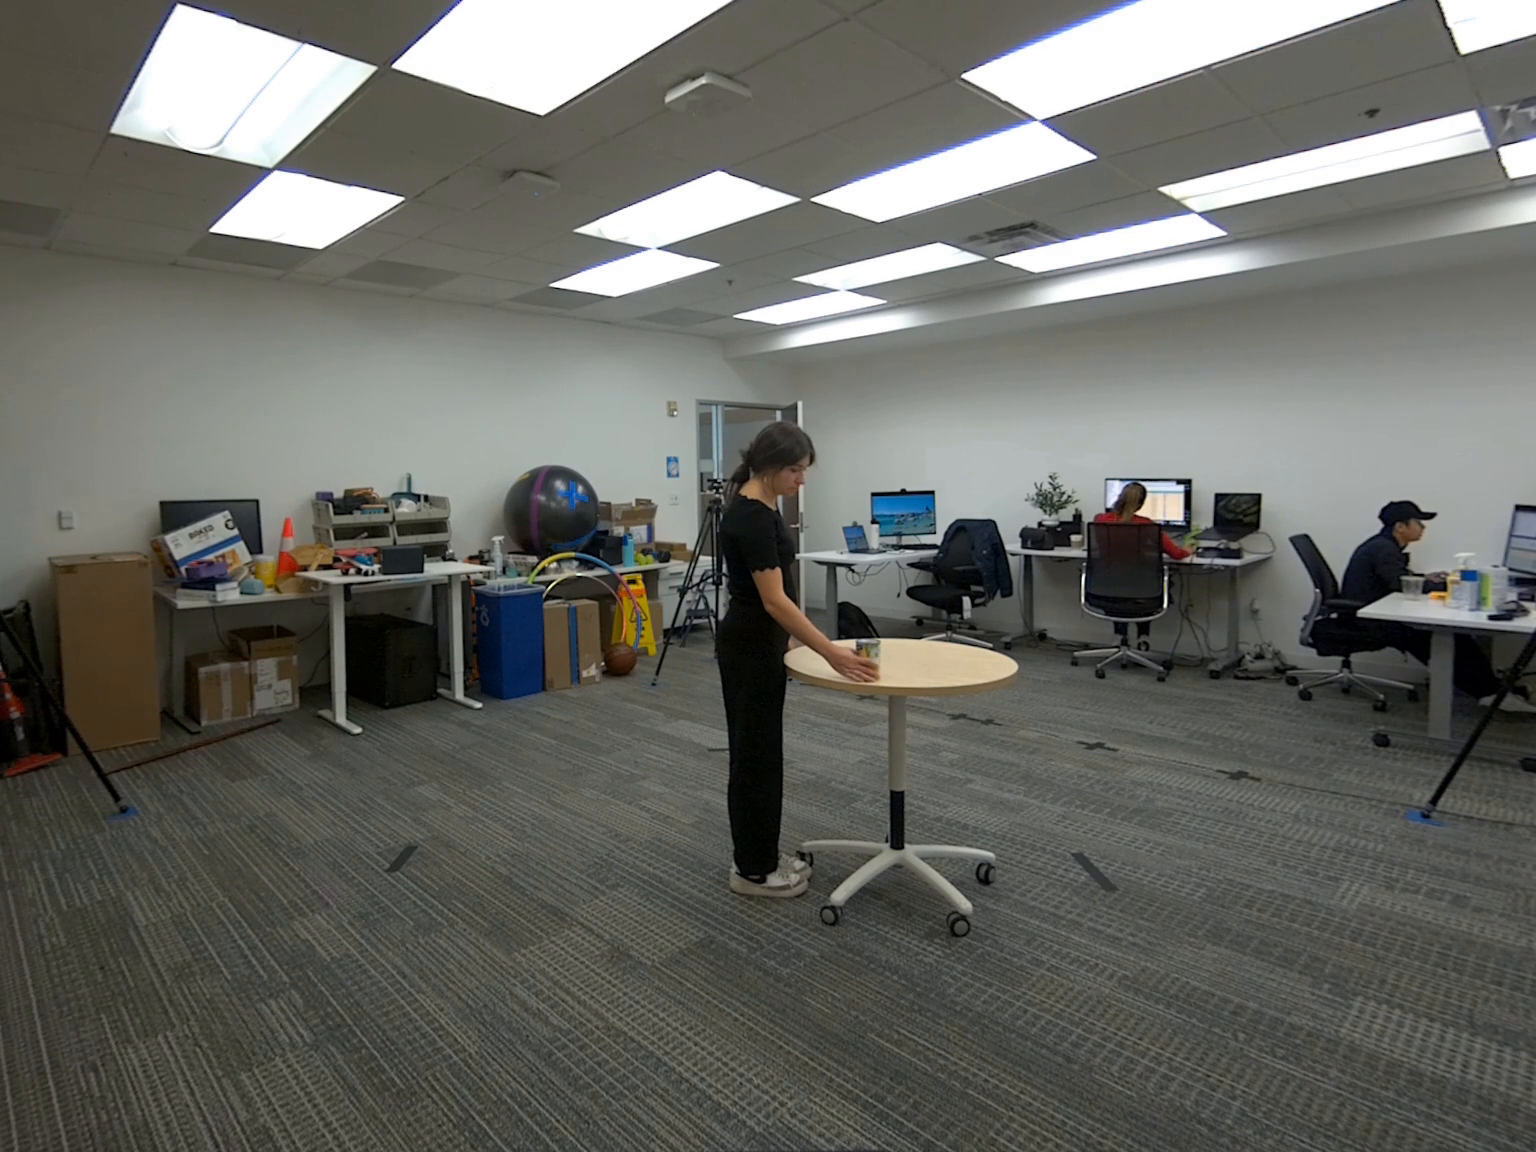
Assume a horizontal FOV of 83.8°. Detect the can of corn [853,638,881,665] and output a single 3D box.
[{"bbox_3d":[0.311,0.257,2.595,0.074,0.110,0.074,1,6,-2],"label":"can of corn"}]
